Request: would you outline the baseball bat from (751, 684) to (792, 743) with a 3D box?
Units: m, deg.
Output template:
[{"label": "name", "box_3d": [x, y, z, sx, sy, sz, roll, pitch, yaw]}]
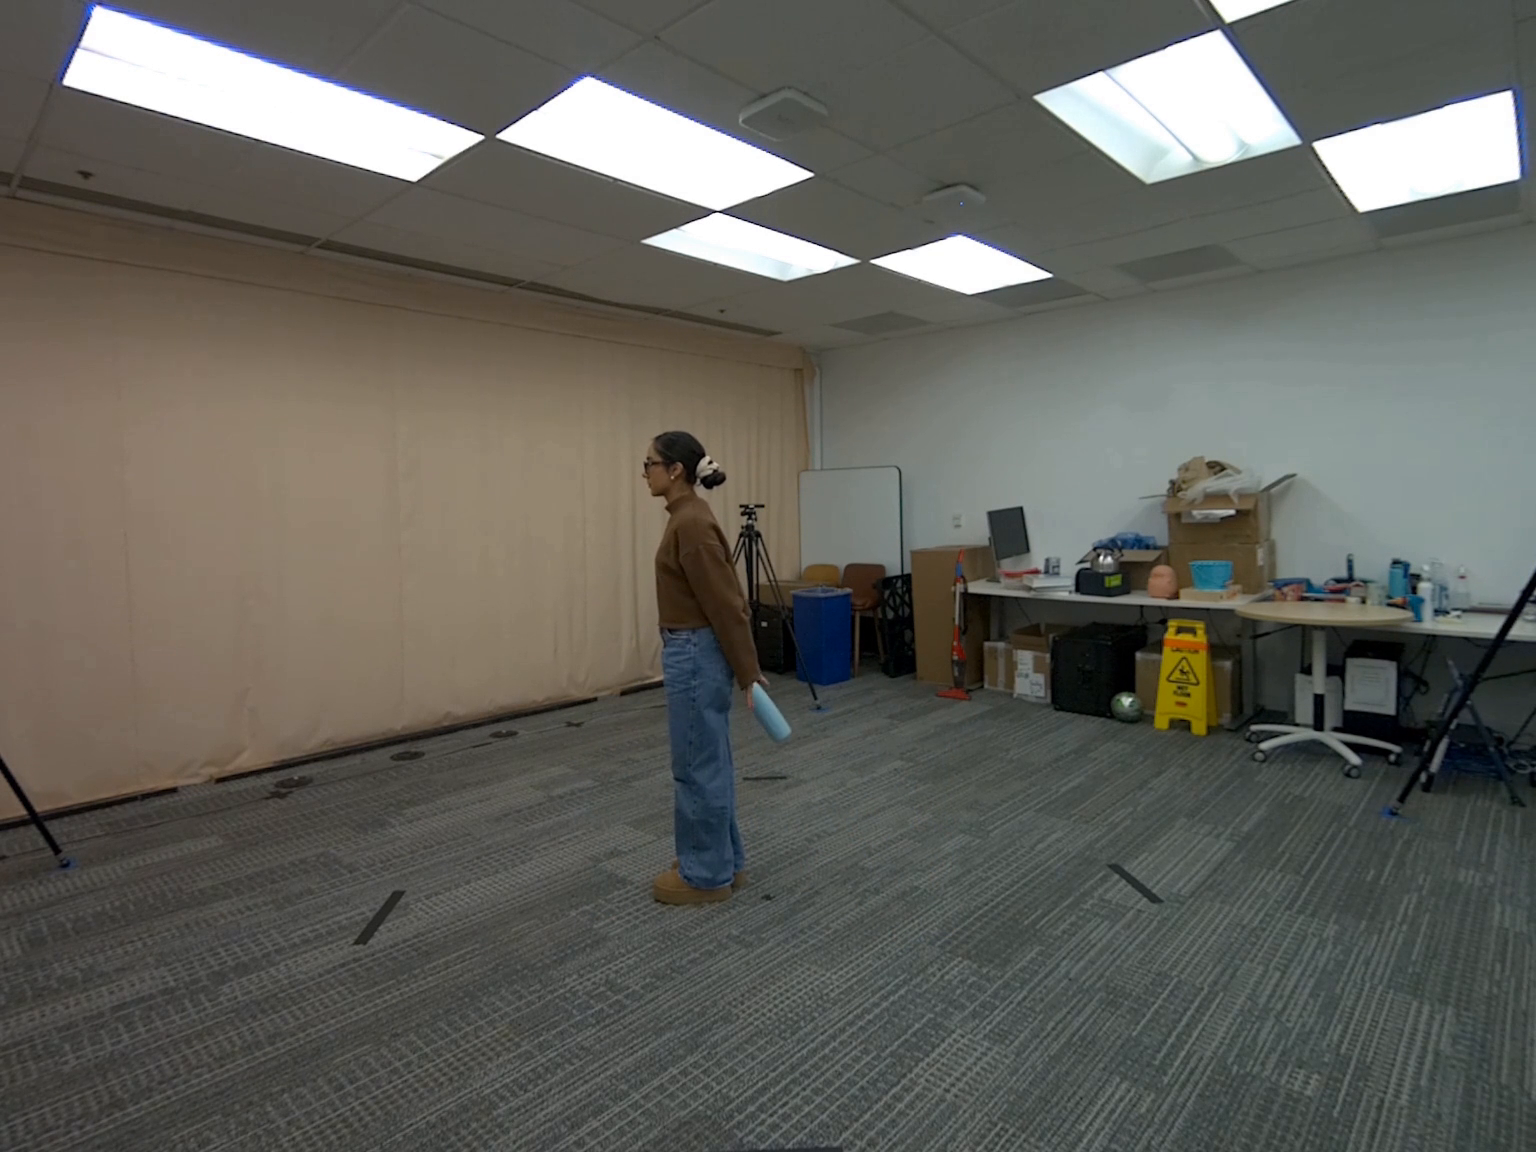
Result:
[{"label": "baseball bat", "box_3d": [-0.091, 0.420, 3.337, 0.089, 0.546, 0.089, -36, -5, -5]}]
